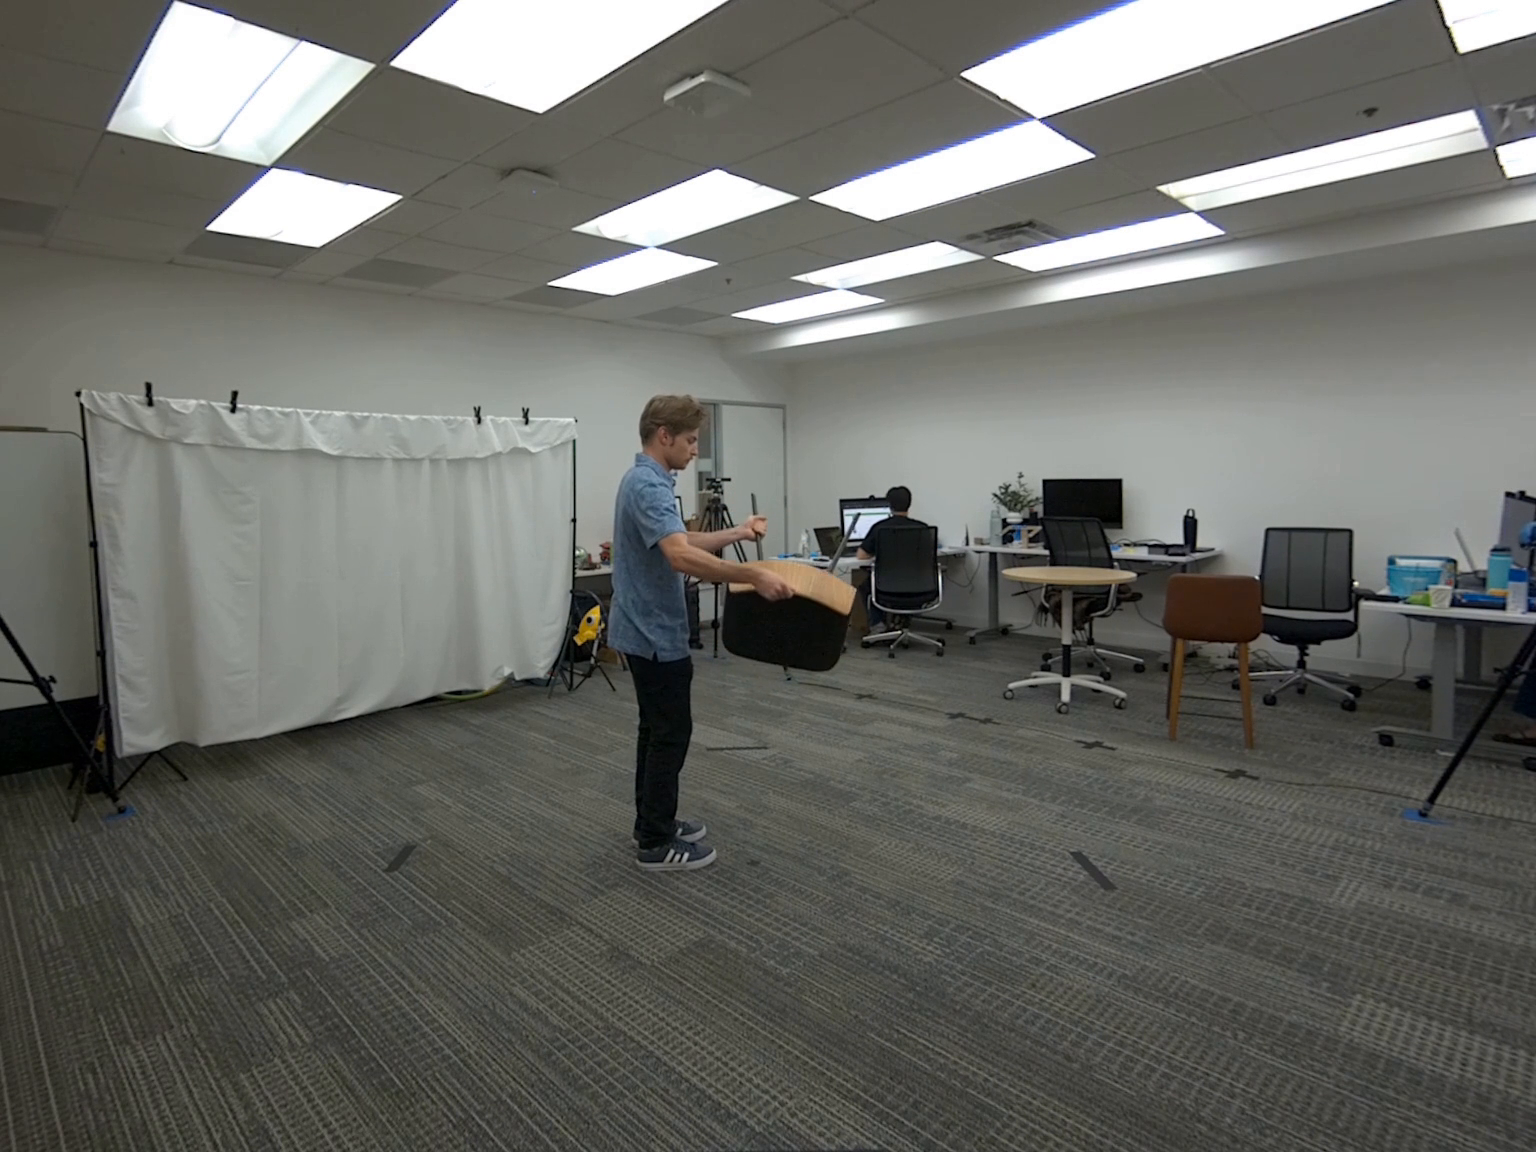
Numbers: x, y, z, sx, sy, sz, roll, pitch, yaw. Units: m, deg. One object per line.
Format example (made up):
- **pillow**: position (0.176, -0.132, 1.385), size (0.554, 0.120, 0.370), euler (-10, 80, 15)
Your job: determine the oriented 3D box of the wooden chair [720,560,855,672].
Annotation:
- **wooden chair**: position (0.067, 0.113, 3.211), size (0.480, 0.514, 0.888), euler (11, 25, 2)
